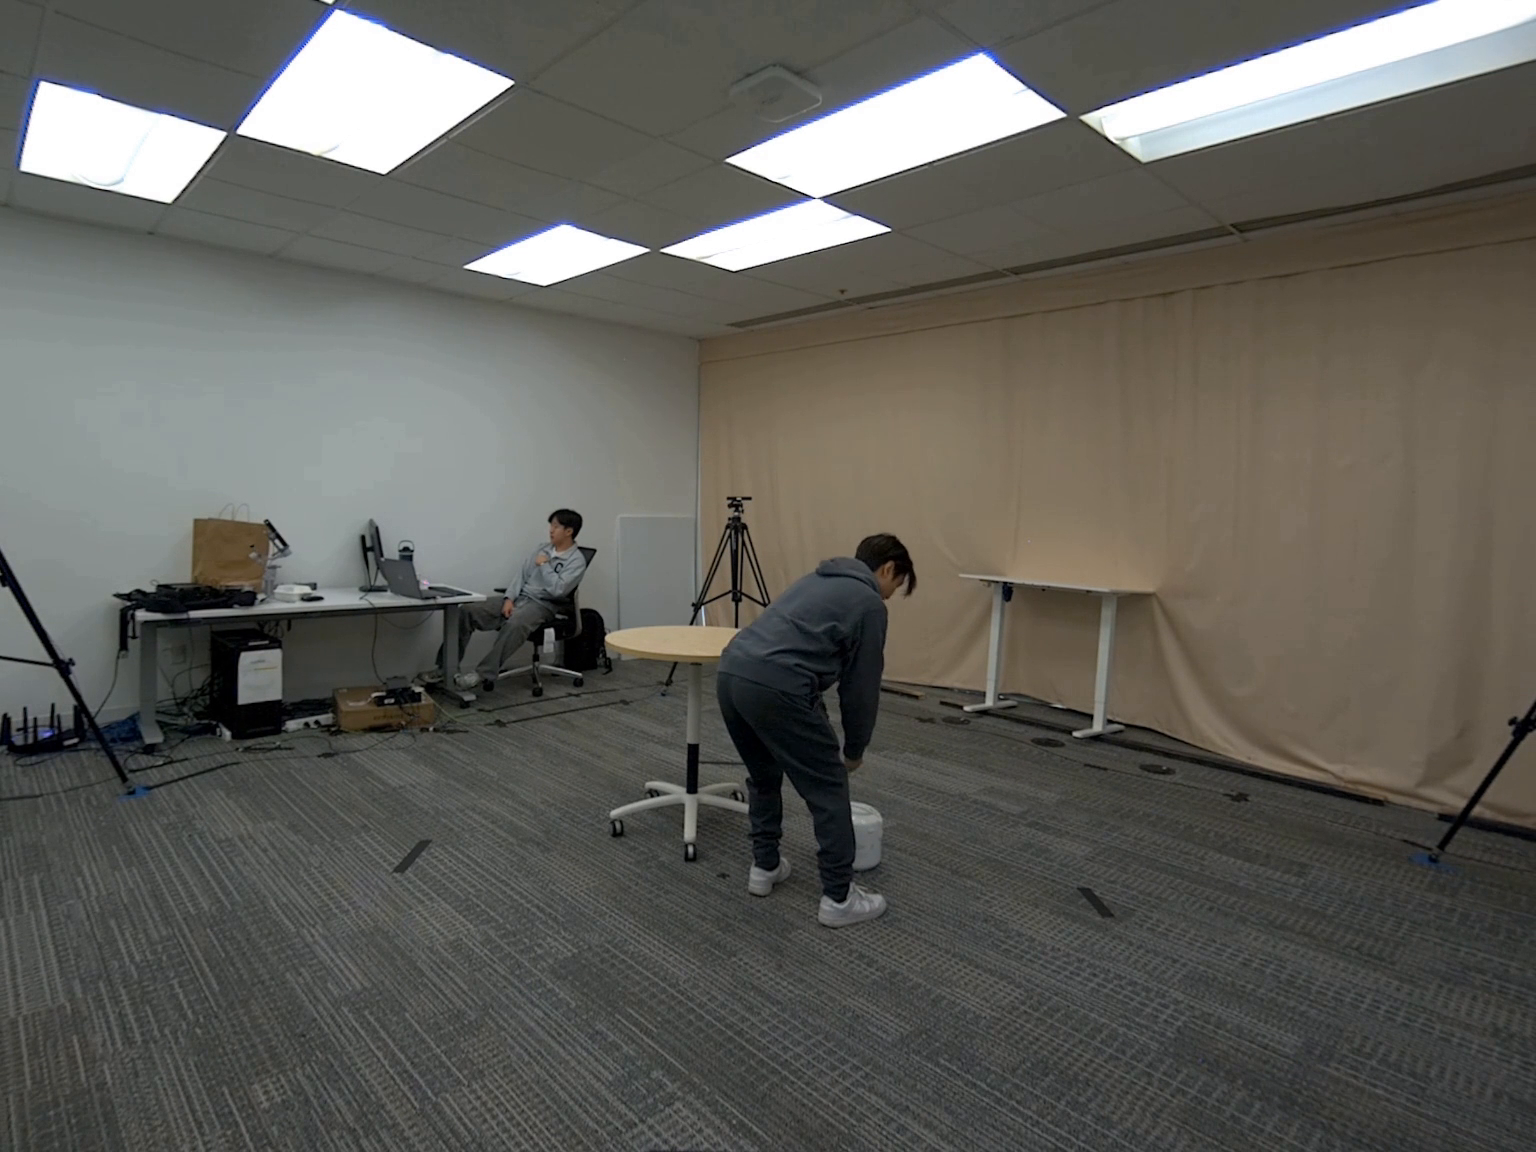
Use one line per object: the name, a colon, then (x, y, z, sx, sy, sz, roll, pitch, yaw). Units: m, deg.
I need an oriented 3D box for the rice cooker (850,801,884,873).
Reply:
rice cooker: (0.328, 0.994, 3.242, 0.225, 0.232, 0.214, 3, 4, 23)
